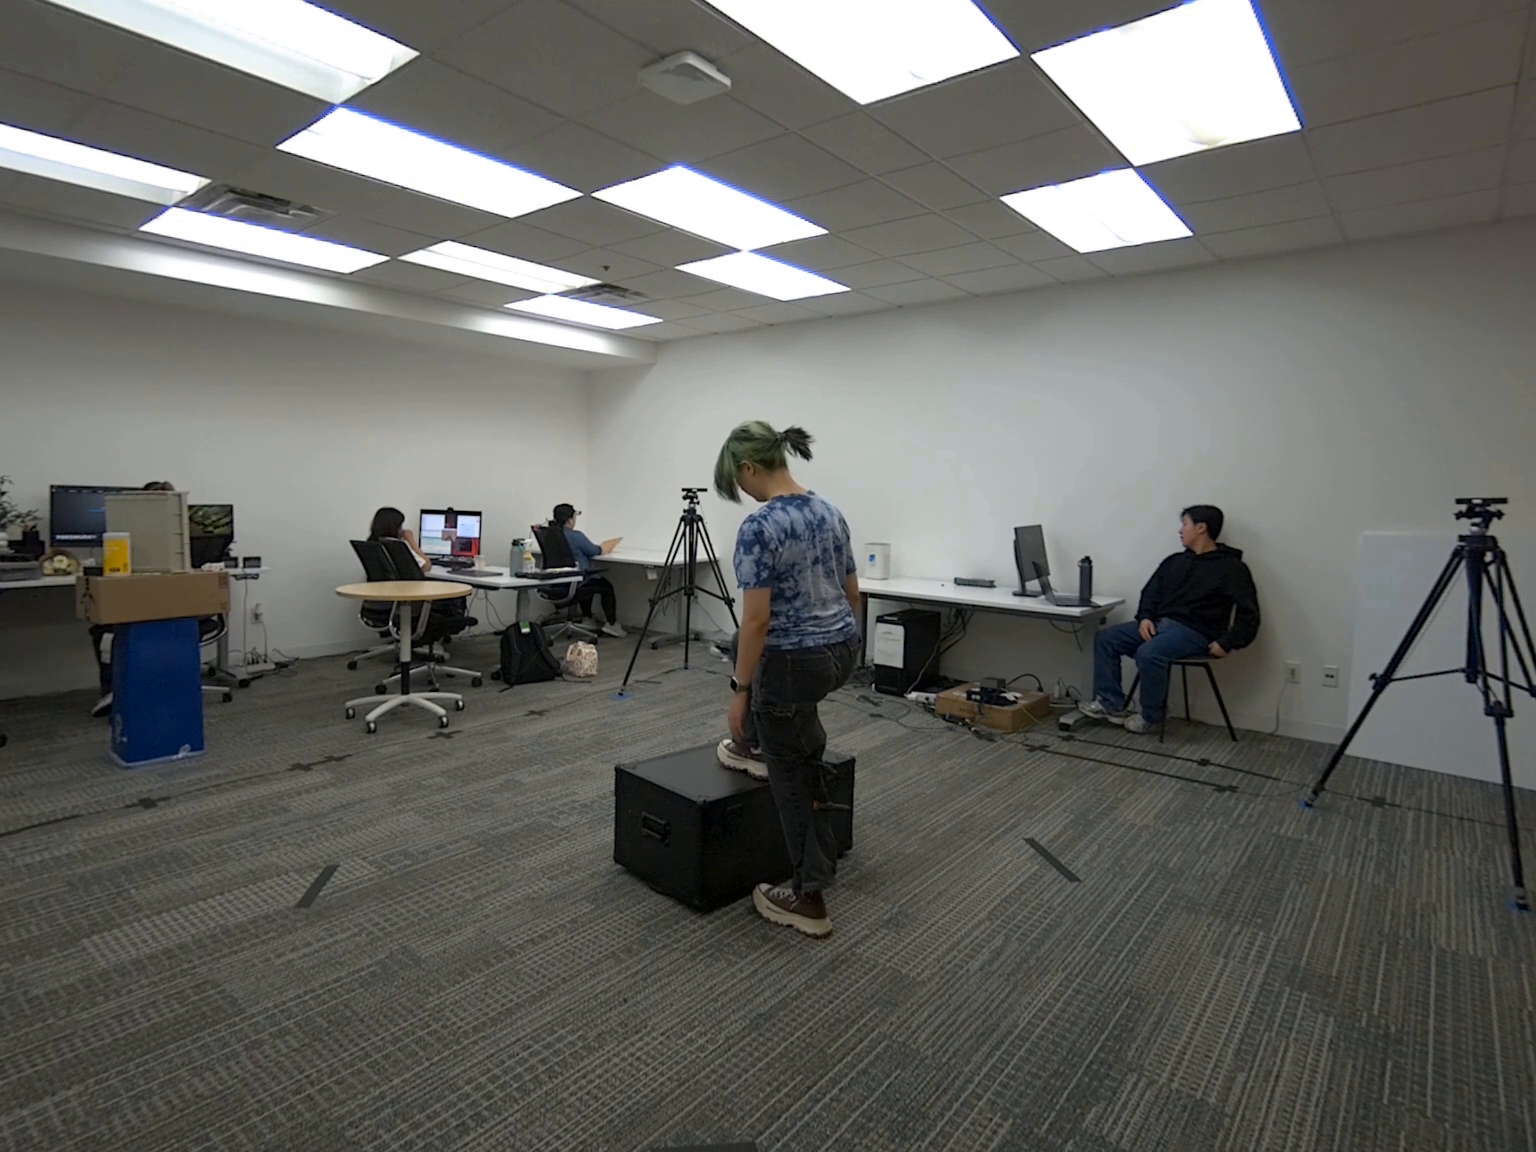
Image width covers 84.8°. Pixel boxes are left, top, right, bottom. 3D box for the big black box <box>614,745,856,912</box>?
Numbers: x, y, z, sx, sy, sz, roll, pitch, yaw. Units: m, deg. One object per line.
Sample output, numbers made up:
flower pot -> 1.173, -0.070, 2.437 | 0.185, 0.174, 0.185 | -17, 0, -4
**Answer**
big black box -> -0.100, 0.873, 3.190 | 0.836, 0.395, 0.539 | -4, 7, -44
